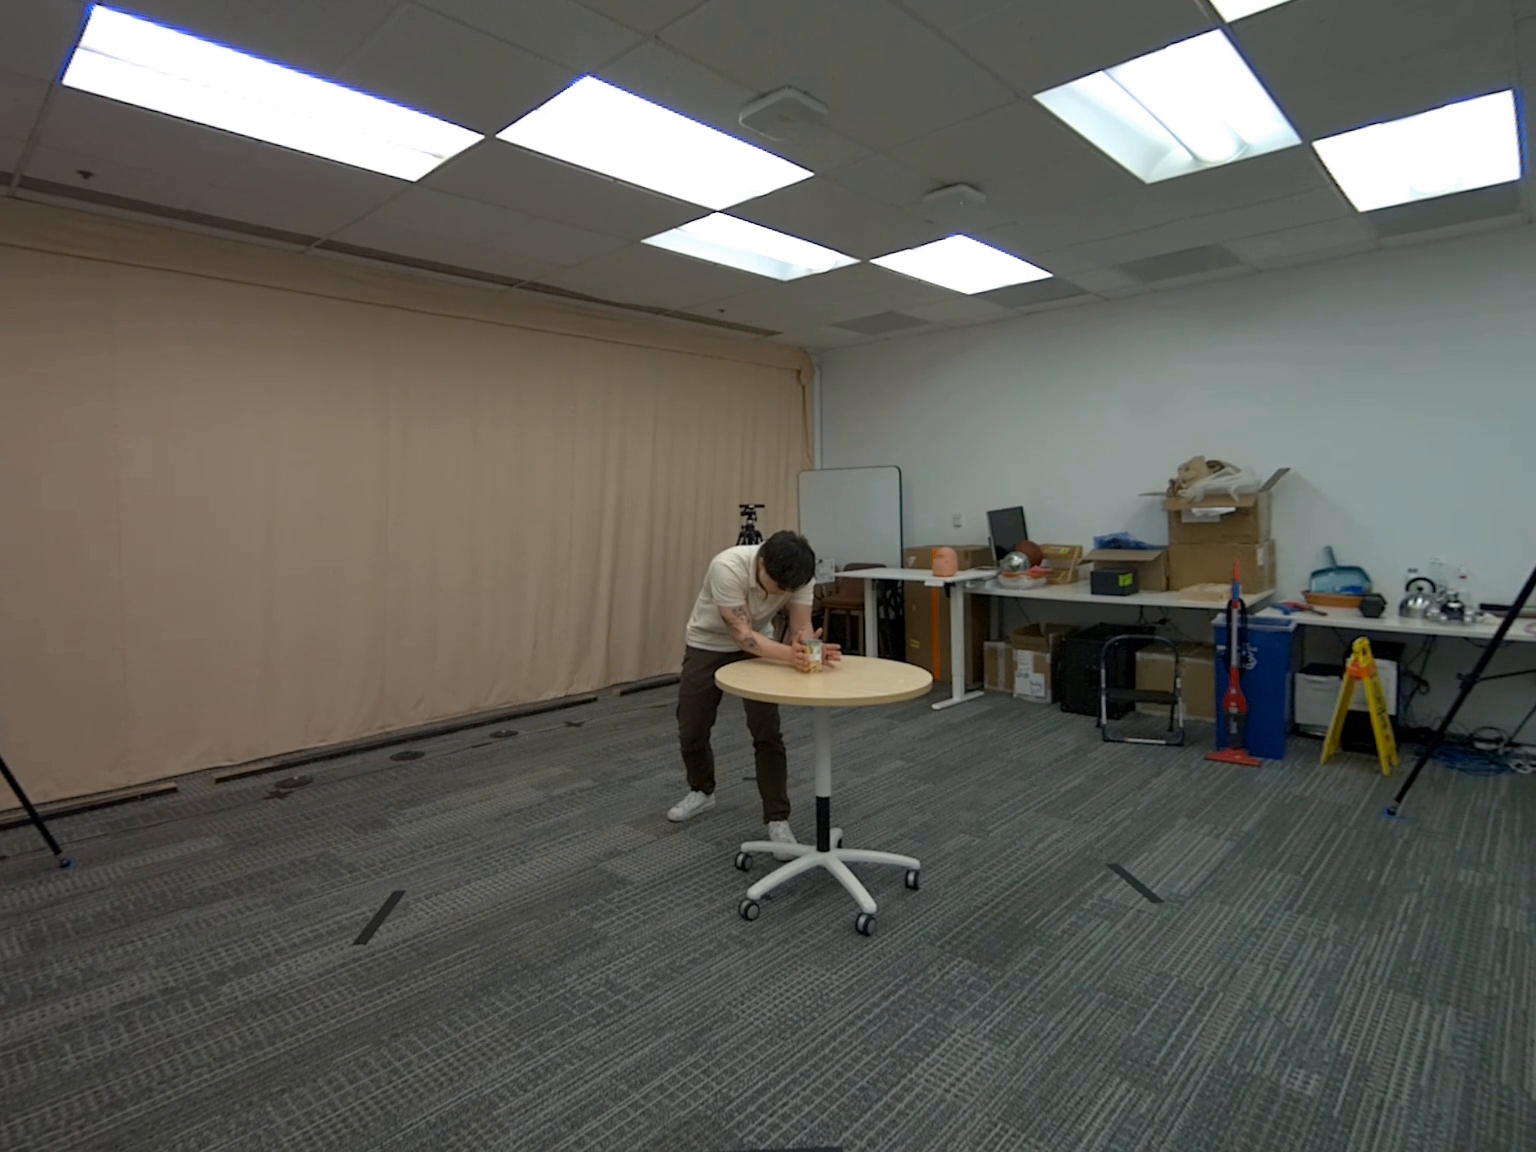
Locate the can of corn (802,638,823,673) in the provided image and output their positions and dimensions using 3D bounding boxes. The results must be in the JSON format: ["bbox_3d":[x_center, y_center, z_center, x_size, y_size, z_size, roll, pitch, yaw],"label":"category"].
[{"bbox_3d":[0.163,0.290,3.054,0.074,0.111,0.074,-6,3,-2],"label":"can of corn"}]
